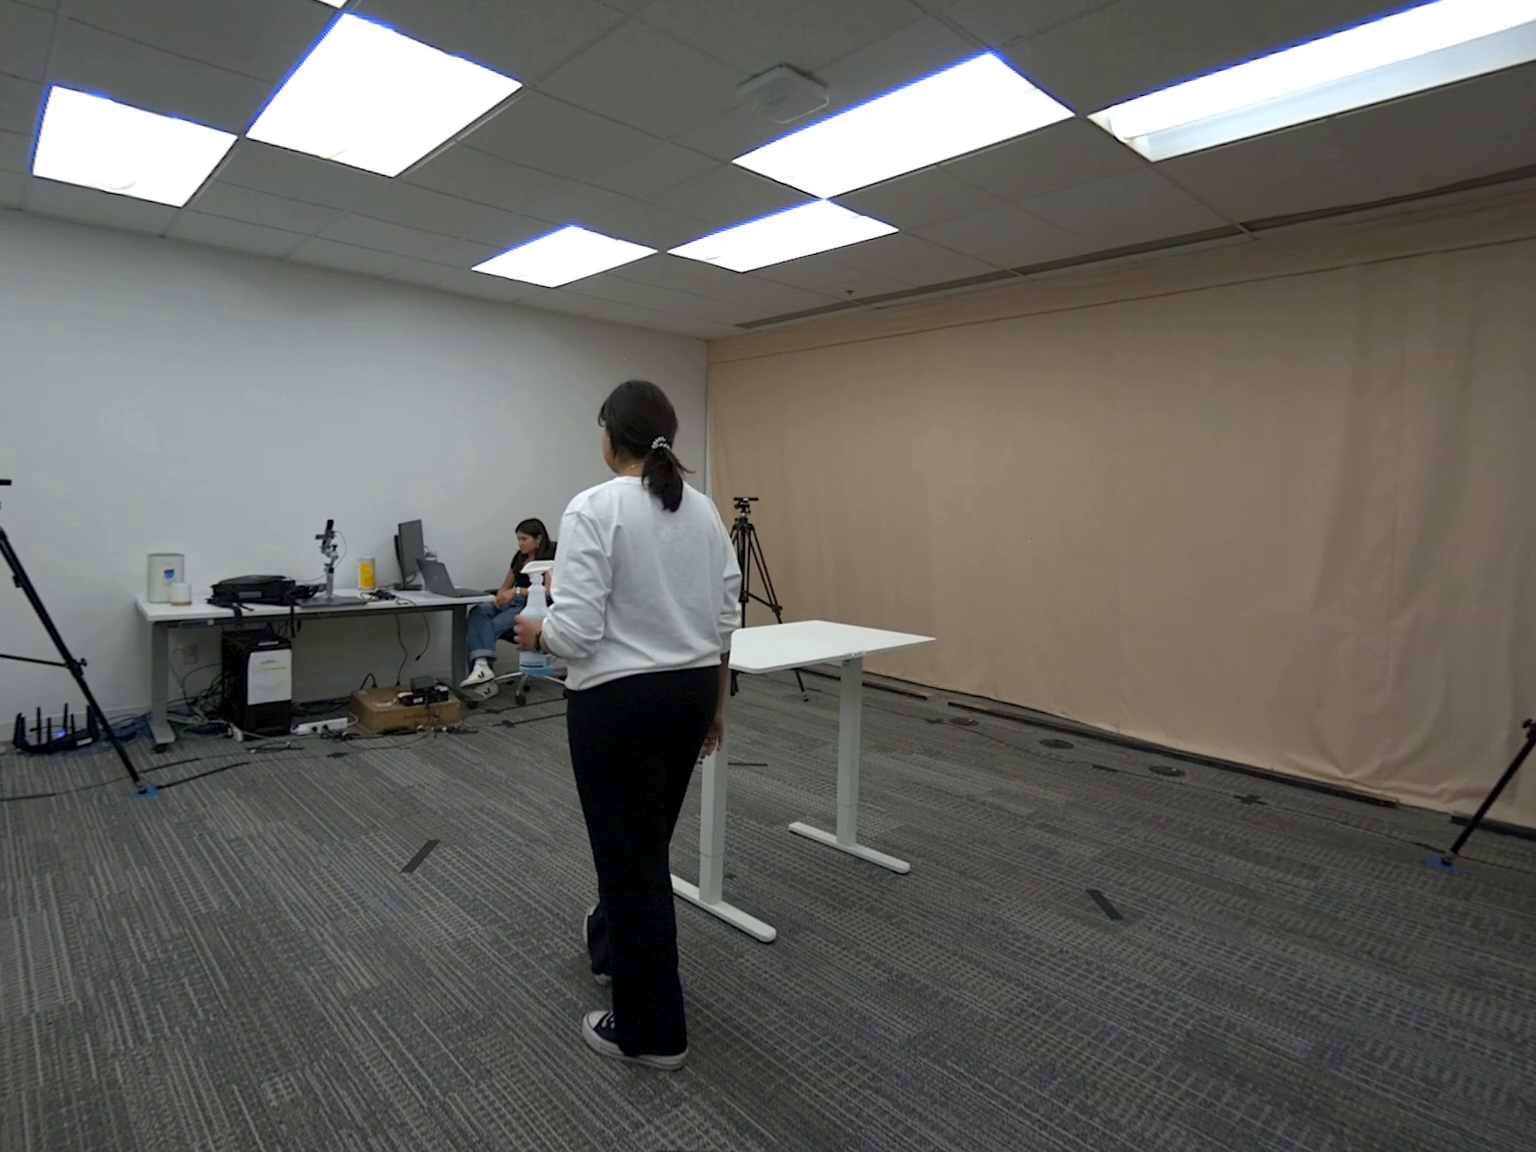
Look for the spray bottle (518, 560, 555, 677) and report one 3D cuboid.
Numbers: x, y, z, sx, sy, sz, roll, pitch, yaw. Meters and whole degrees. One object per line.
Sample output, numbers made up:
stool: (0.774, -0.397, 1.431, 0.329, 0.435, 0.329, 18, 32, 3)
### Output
spray bottle: (-0.607, 0.110, 2.221, 0.090, 0.297, 0.087, 4, 3, -1)
